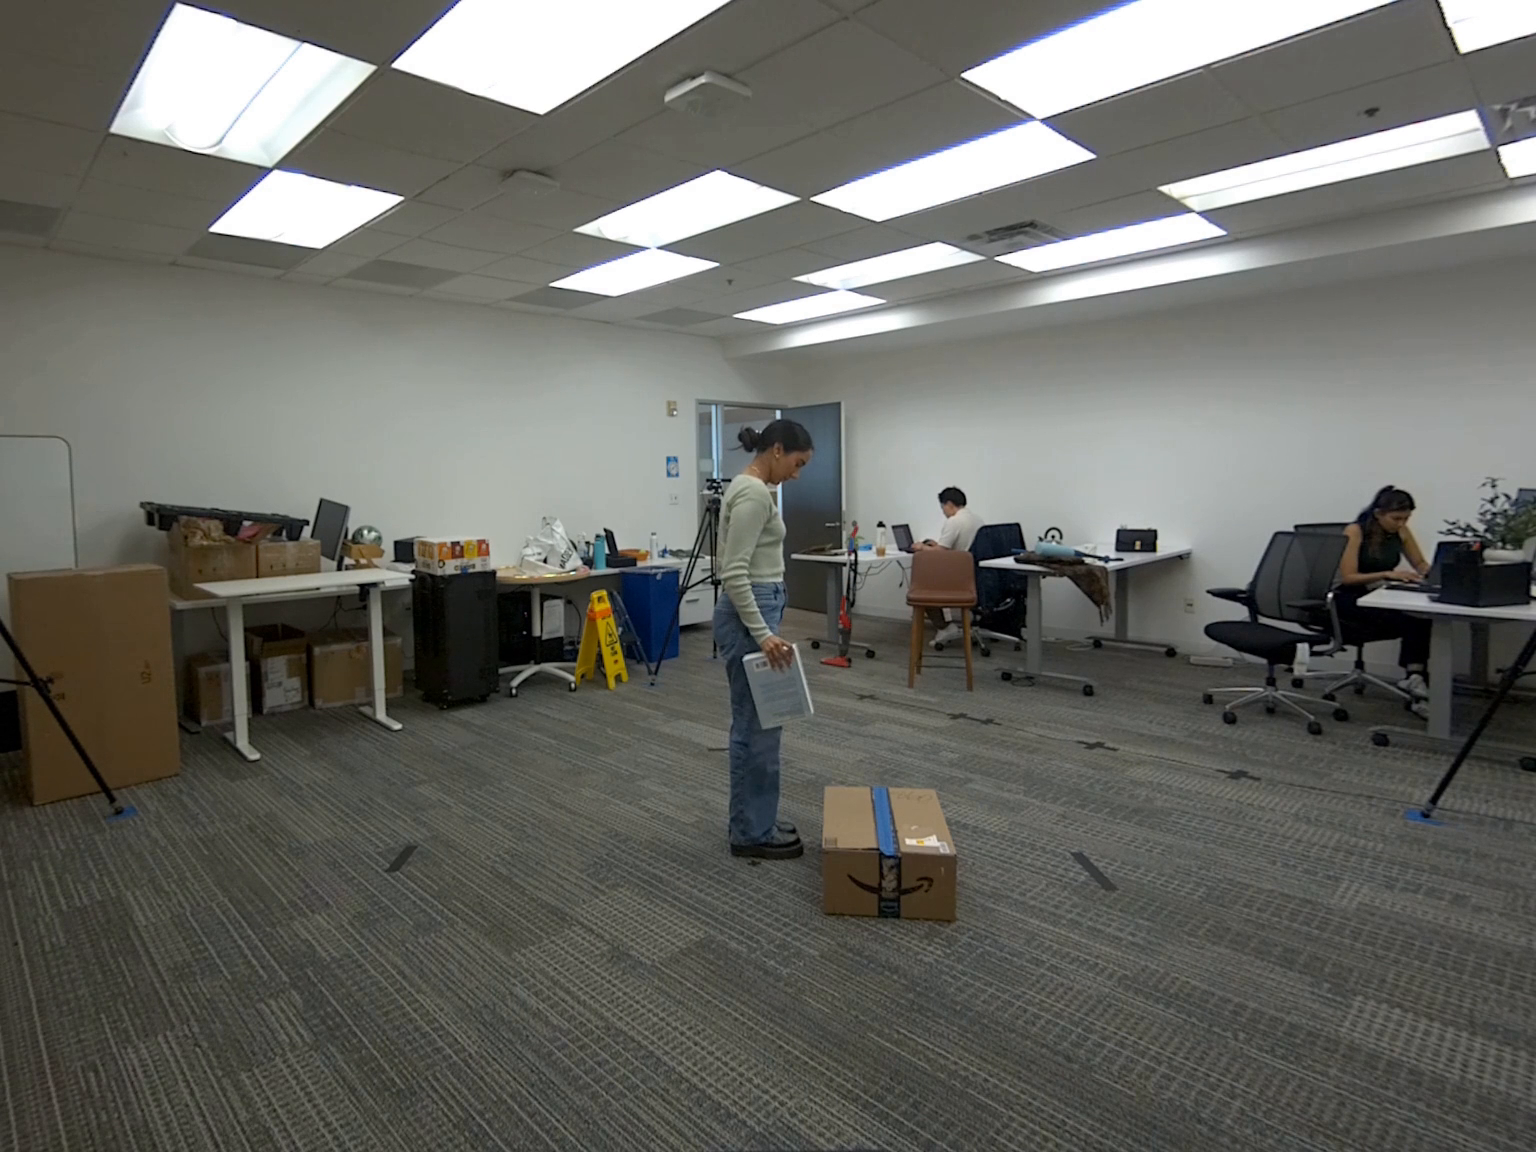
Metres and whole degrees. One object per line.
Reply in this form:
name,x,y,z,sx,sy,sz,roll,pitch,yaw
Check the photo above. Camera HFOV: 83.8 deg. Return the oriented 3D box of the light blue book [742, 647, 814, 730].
light blue book,0.043,0.389,2.993,0.192,0.259,0.059,-12,7,3
